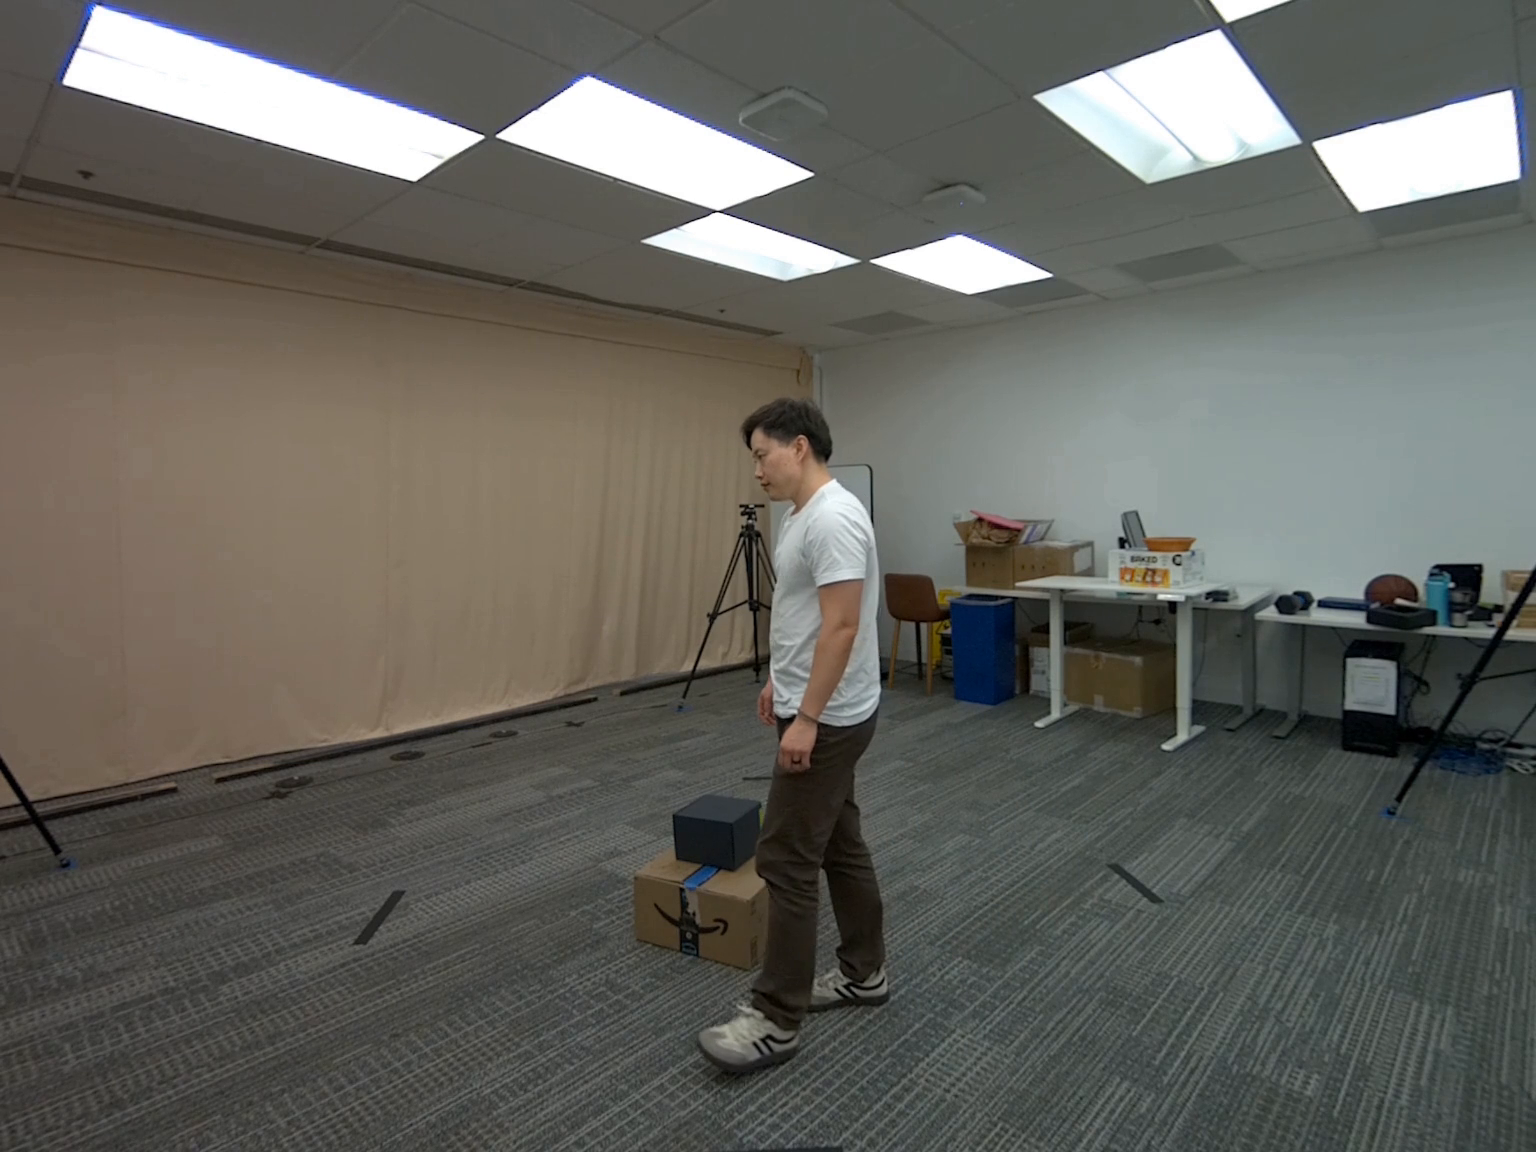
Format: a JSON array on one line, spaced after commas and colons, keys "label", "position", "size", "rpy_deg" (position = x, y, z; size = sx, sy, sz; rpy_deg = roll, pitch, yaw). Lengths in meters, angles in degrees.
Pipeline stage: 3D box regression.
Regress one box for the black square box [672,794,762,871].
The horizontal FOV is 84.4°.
[{"label": "black square box", "position": [-0.160, 0.854, 2.832], "size": [0.234, 0.155, 0.211], "rpy_deg": [-2, 4, 29]}]
